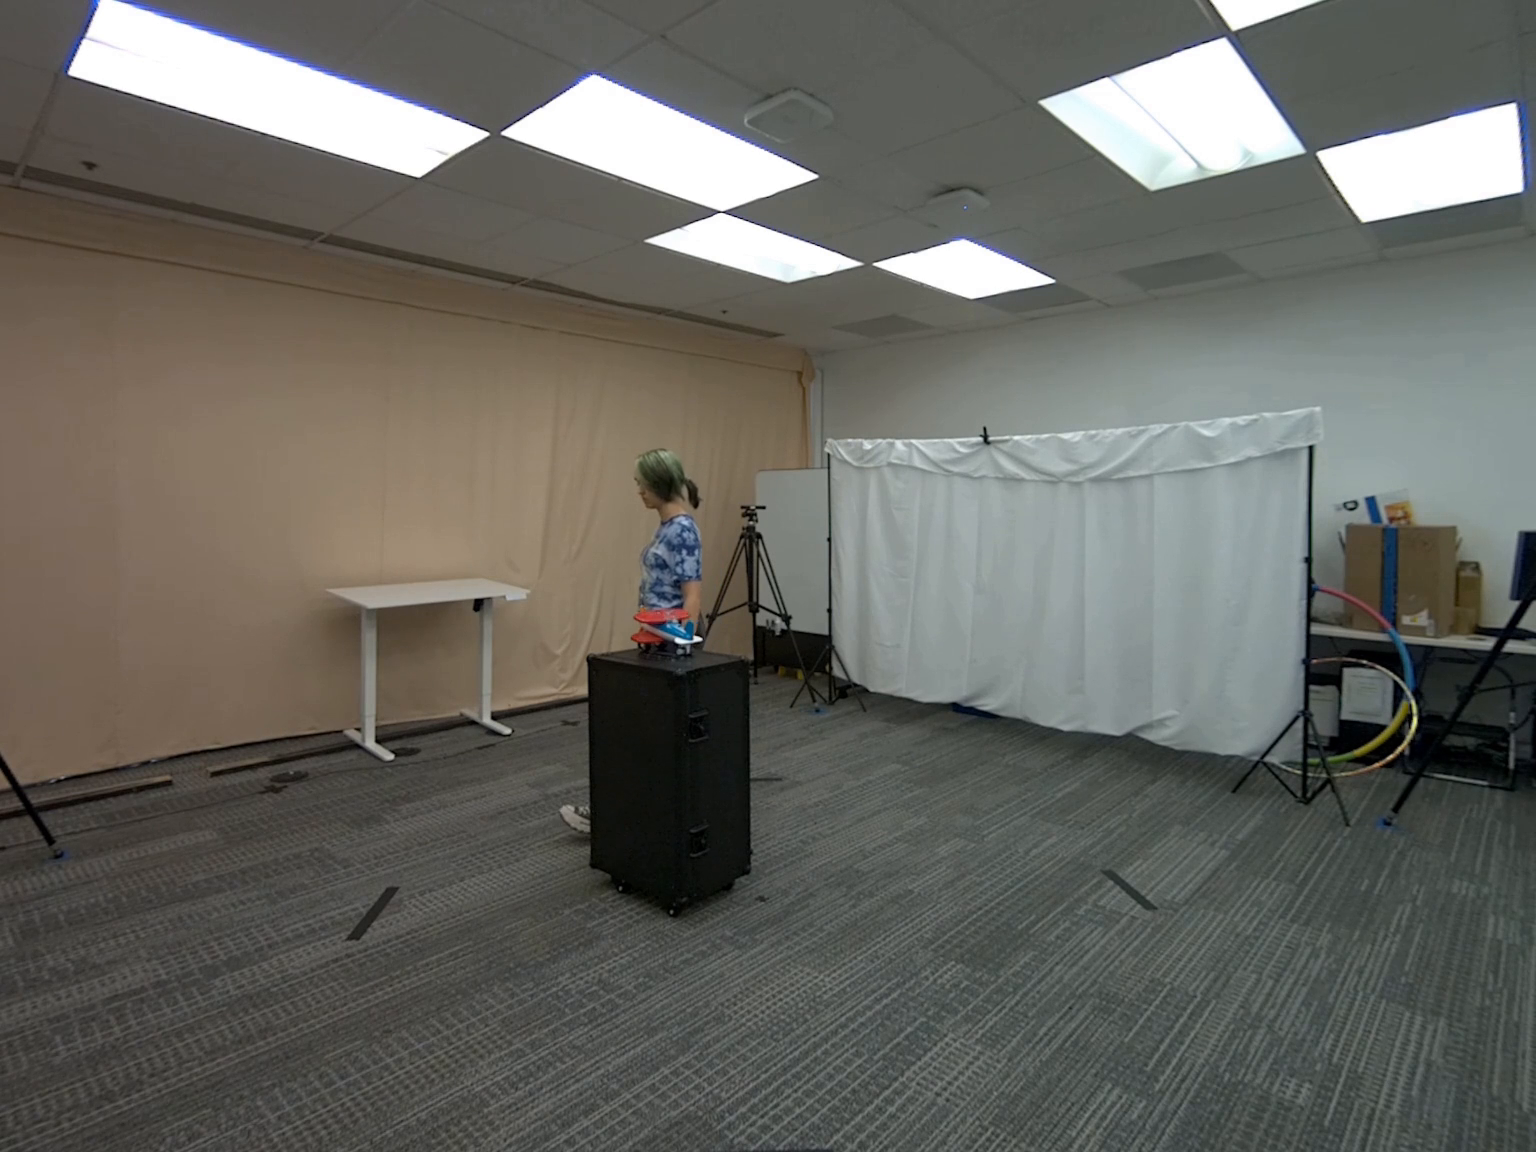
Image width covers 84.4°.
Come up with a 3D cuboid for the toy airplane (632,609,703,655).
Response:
[{"bbox_3d":[-0.362,0.205,3.141,0.263,0.156,0.248,0,3,13],"label":"toy airplane"}]
